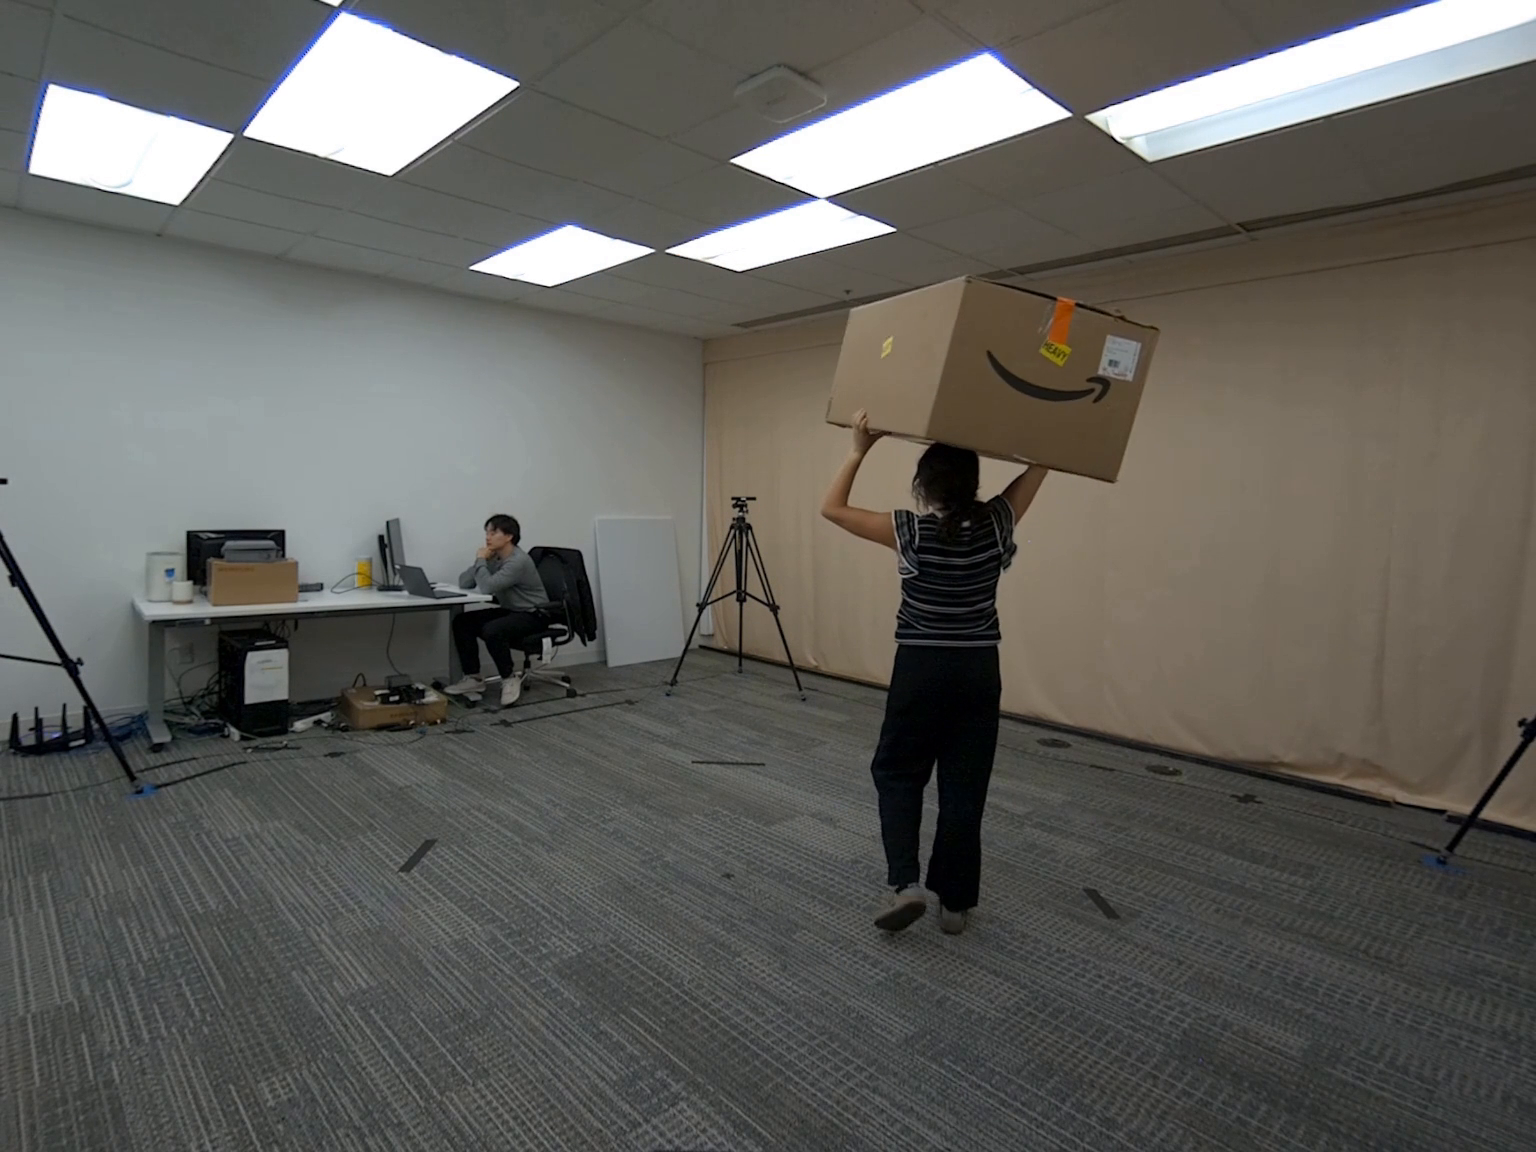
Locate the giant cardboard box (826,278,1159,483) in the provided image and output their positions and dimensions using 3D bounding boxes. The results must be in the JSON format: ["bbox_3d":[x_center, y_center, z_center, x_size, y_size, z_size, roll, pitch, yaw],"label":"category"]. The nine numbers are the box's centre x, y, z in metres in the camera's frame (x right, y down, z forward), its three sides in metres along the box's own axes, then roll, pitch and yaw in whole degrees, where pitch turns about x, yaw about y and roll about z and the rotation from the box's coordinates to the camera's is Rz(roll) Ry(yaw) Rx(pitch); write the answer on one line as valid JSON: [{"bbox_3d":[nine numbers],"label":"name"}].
[{"bbox_3d":[0.621,-0.620,2.705,0.571,0.424,1.042,11,10,-13],"label":"giant cardboard box"}]
